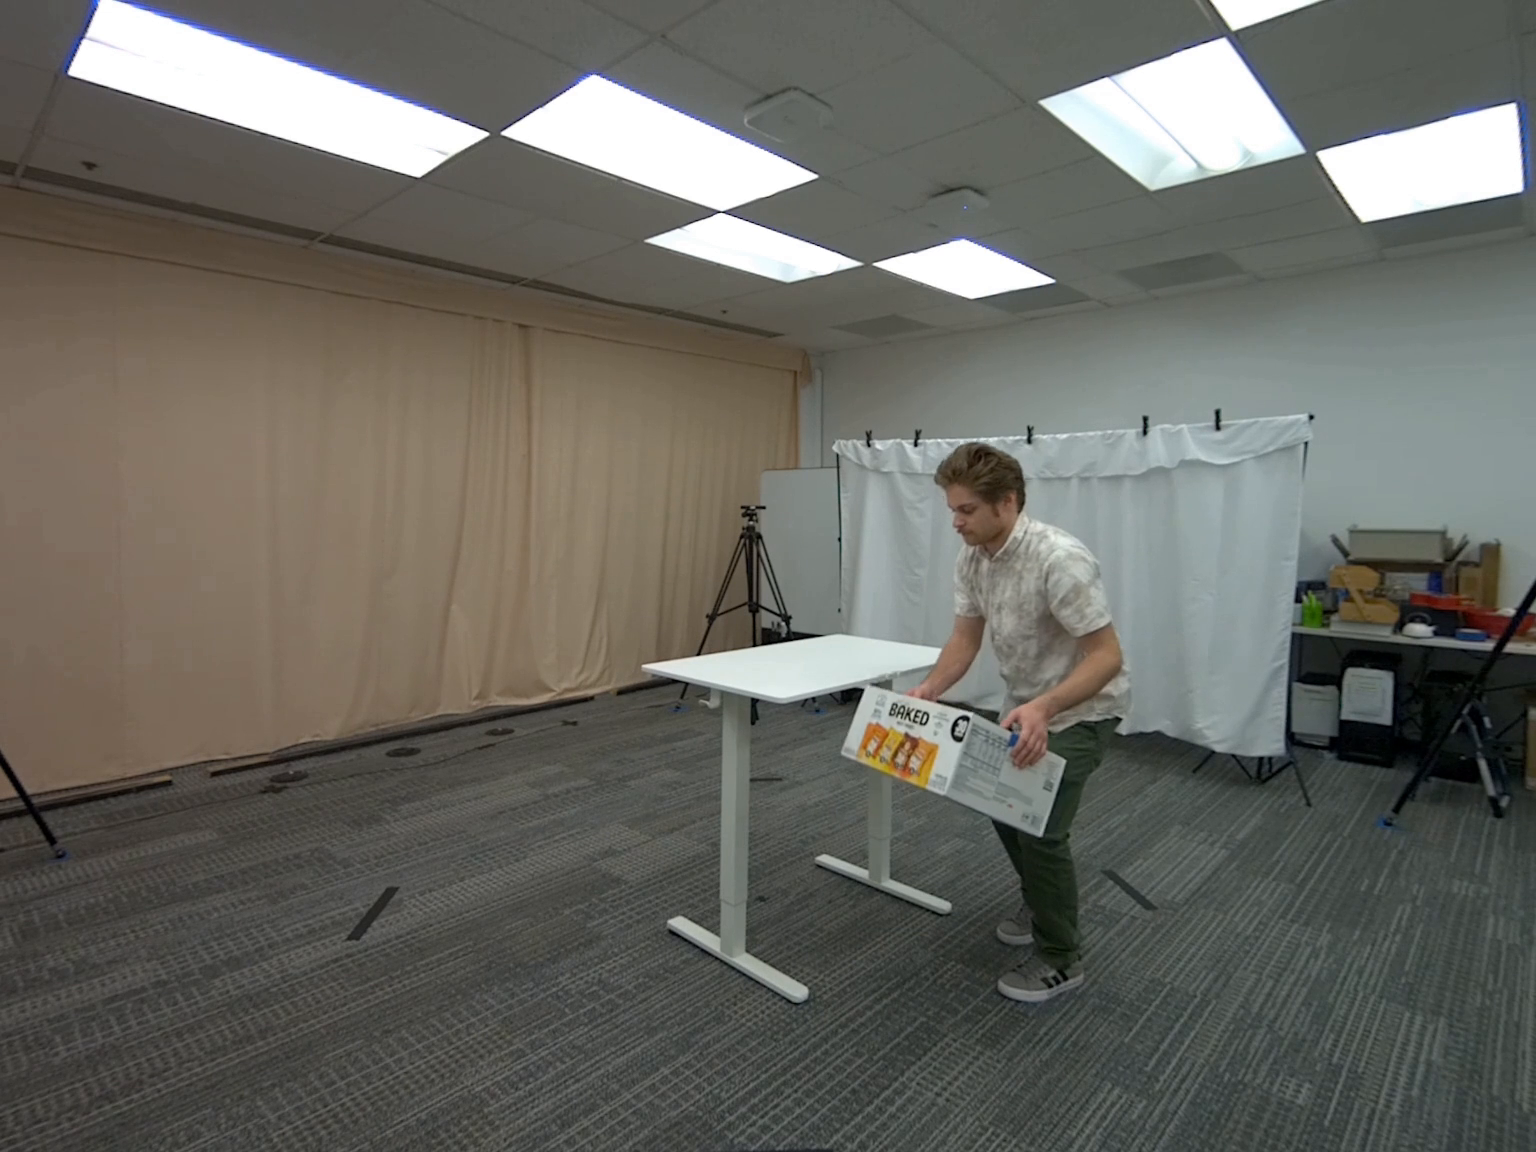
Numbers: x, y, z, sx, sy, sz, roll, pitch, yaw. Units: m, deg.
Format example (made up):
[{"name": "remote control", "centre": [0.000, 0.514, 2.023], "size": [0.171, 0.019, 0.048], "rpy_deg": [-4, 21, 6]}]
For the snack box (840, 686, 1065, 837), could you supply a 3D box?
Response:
[{"name": "snack box", "centre": [0.470, 0.471, 2.173], "size": [0.331, 0.206, 0.416], "rpy_deg": [27, -11, -27]}]
